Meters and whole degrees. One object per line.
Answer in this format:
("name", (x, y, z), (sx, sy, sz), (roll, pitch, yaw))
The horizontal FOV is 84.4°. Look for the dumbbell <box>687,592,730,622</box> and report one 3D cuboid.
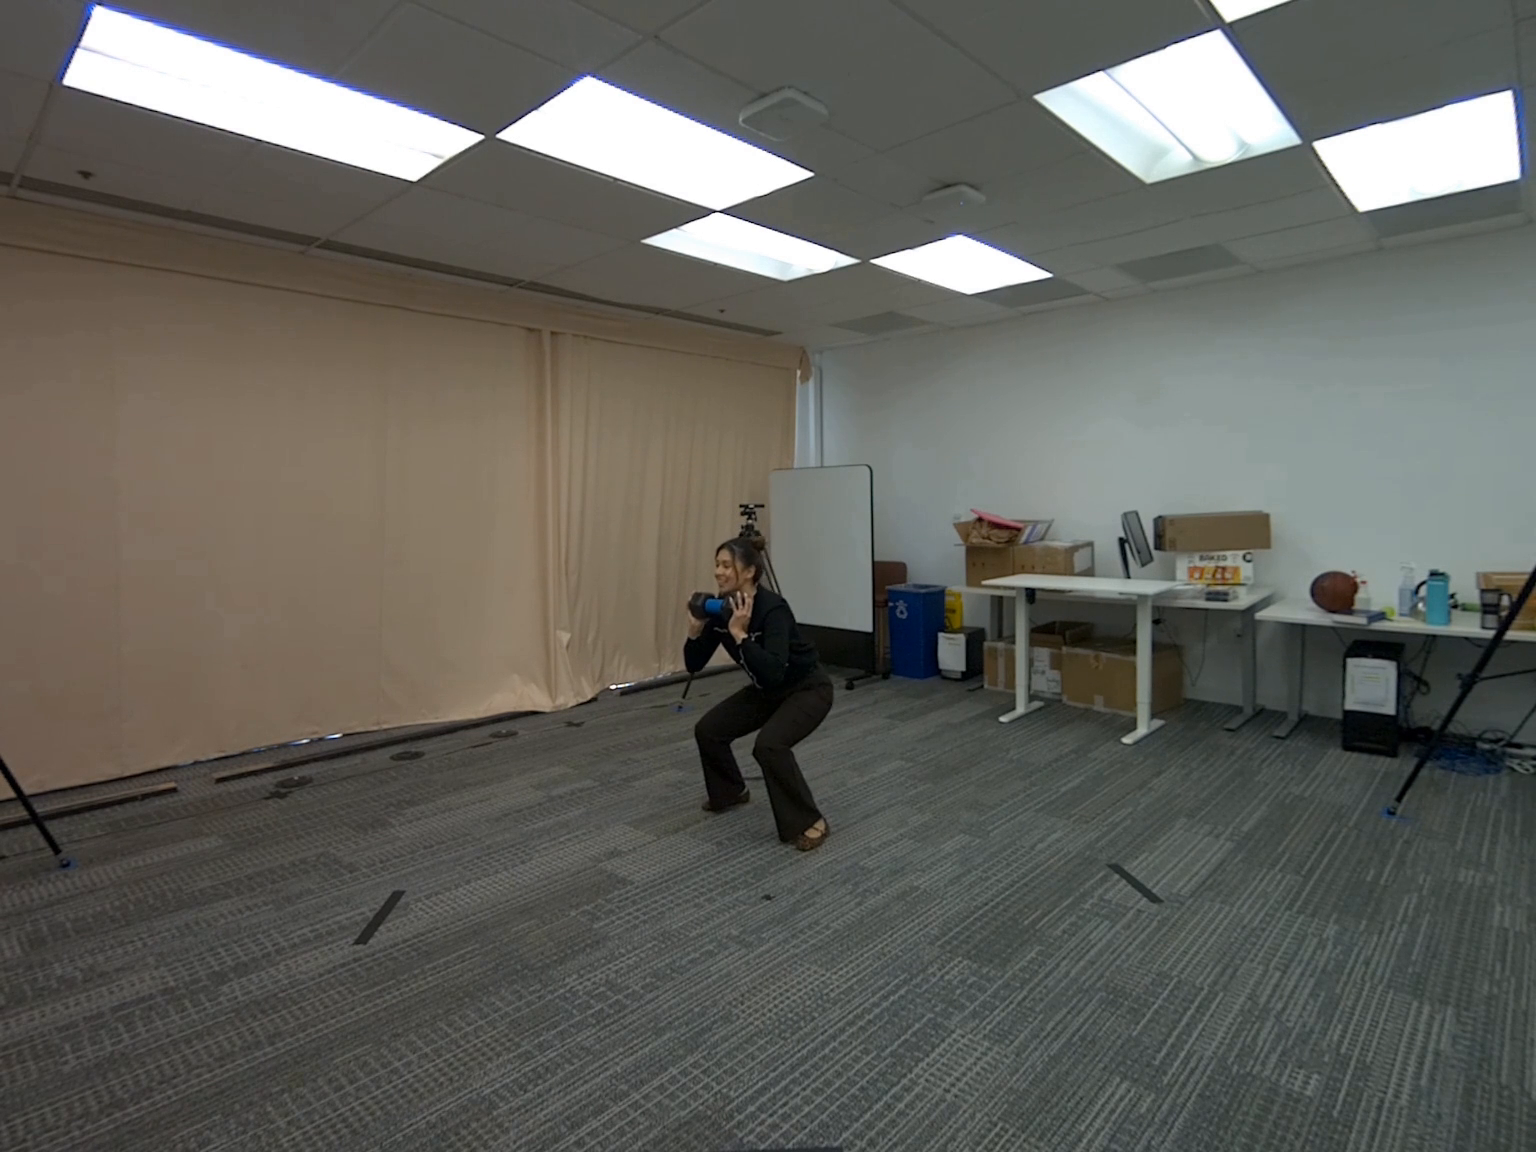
("dumbbell", (-0.199, 0.124, 3.552), (0.303, 0.123, 0.105), (4, -34, 48))
